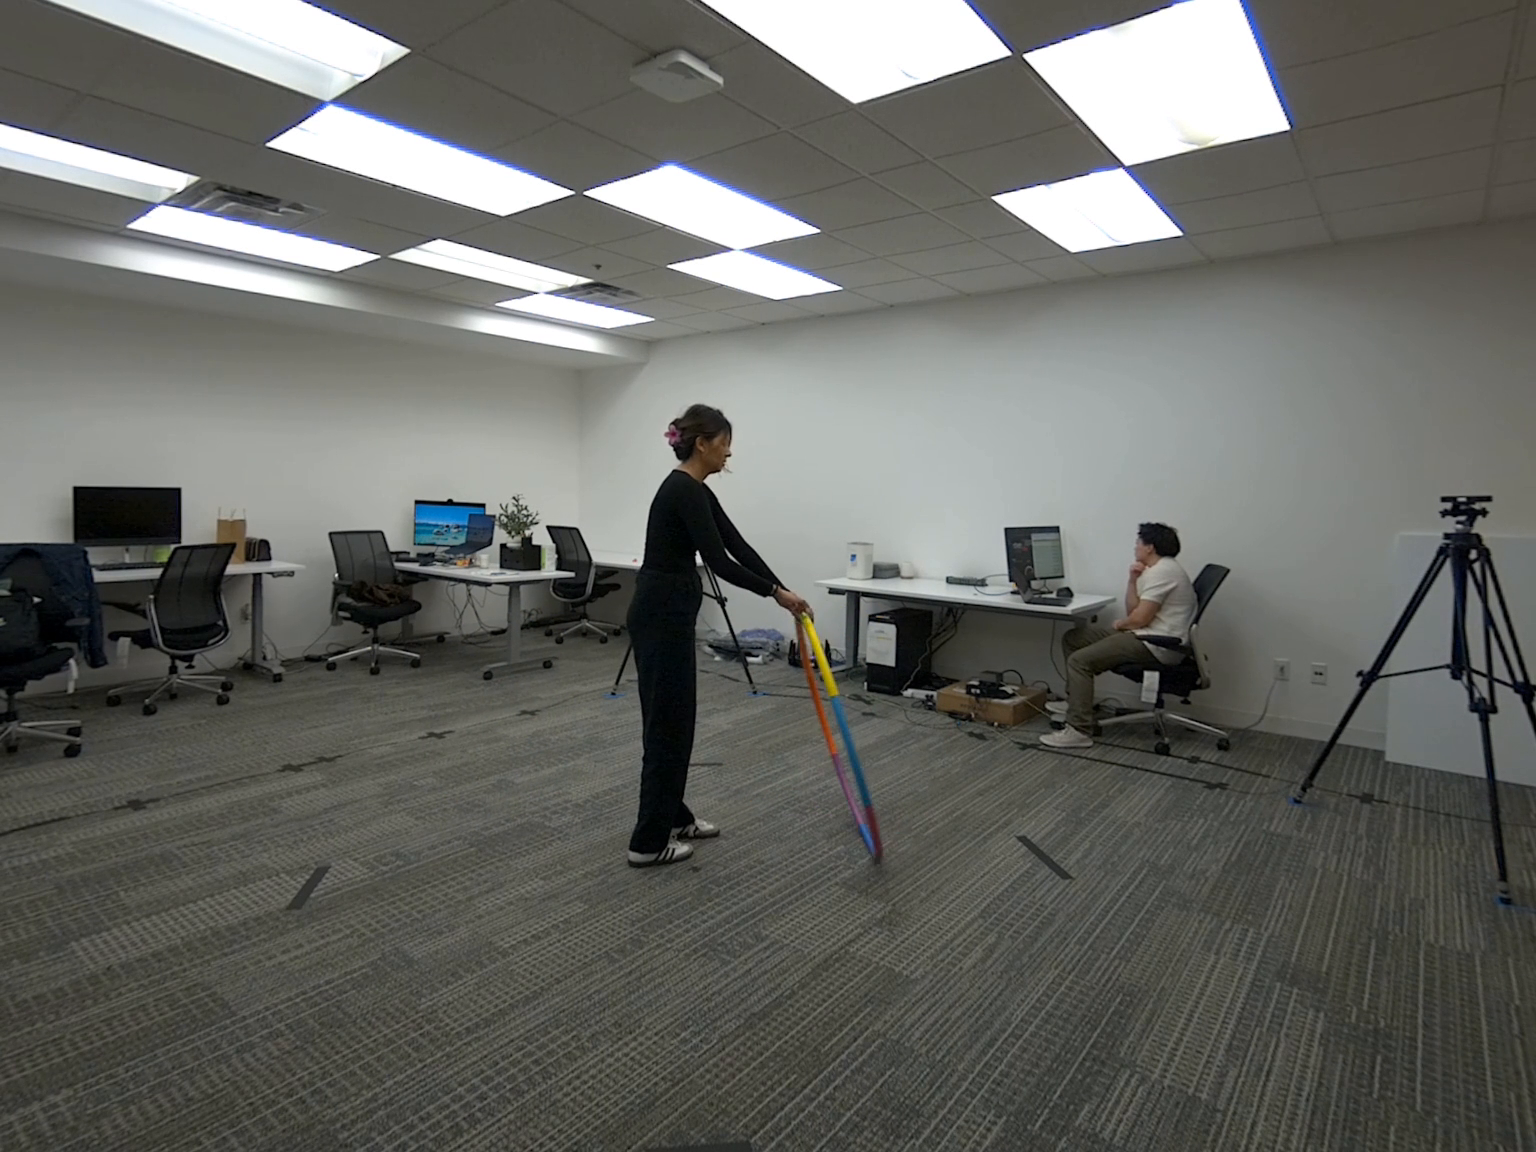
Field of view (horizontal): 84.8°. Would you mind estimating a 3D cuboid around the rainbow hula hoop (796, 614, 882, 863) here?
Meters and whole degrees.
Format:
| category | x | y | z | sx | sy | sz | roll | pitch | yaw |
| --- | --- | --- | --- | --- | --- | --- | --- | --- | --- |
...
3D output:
| category | x | y | z | sx | sy | sz | roll | pitch | yaw |
| --- | --- | --- | --- | --- | --- | --- | --- | --- | --- |
| rainbow hula hoop | 0.257 | 0.590 | 3.310 | 0.035 | 0.974 | 0.985 | -18 | 5 | -3 |
